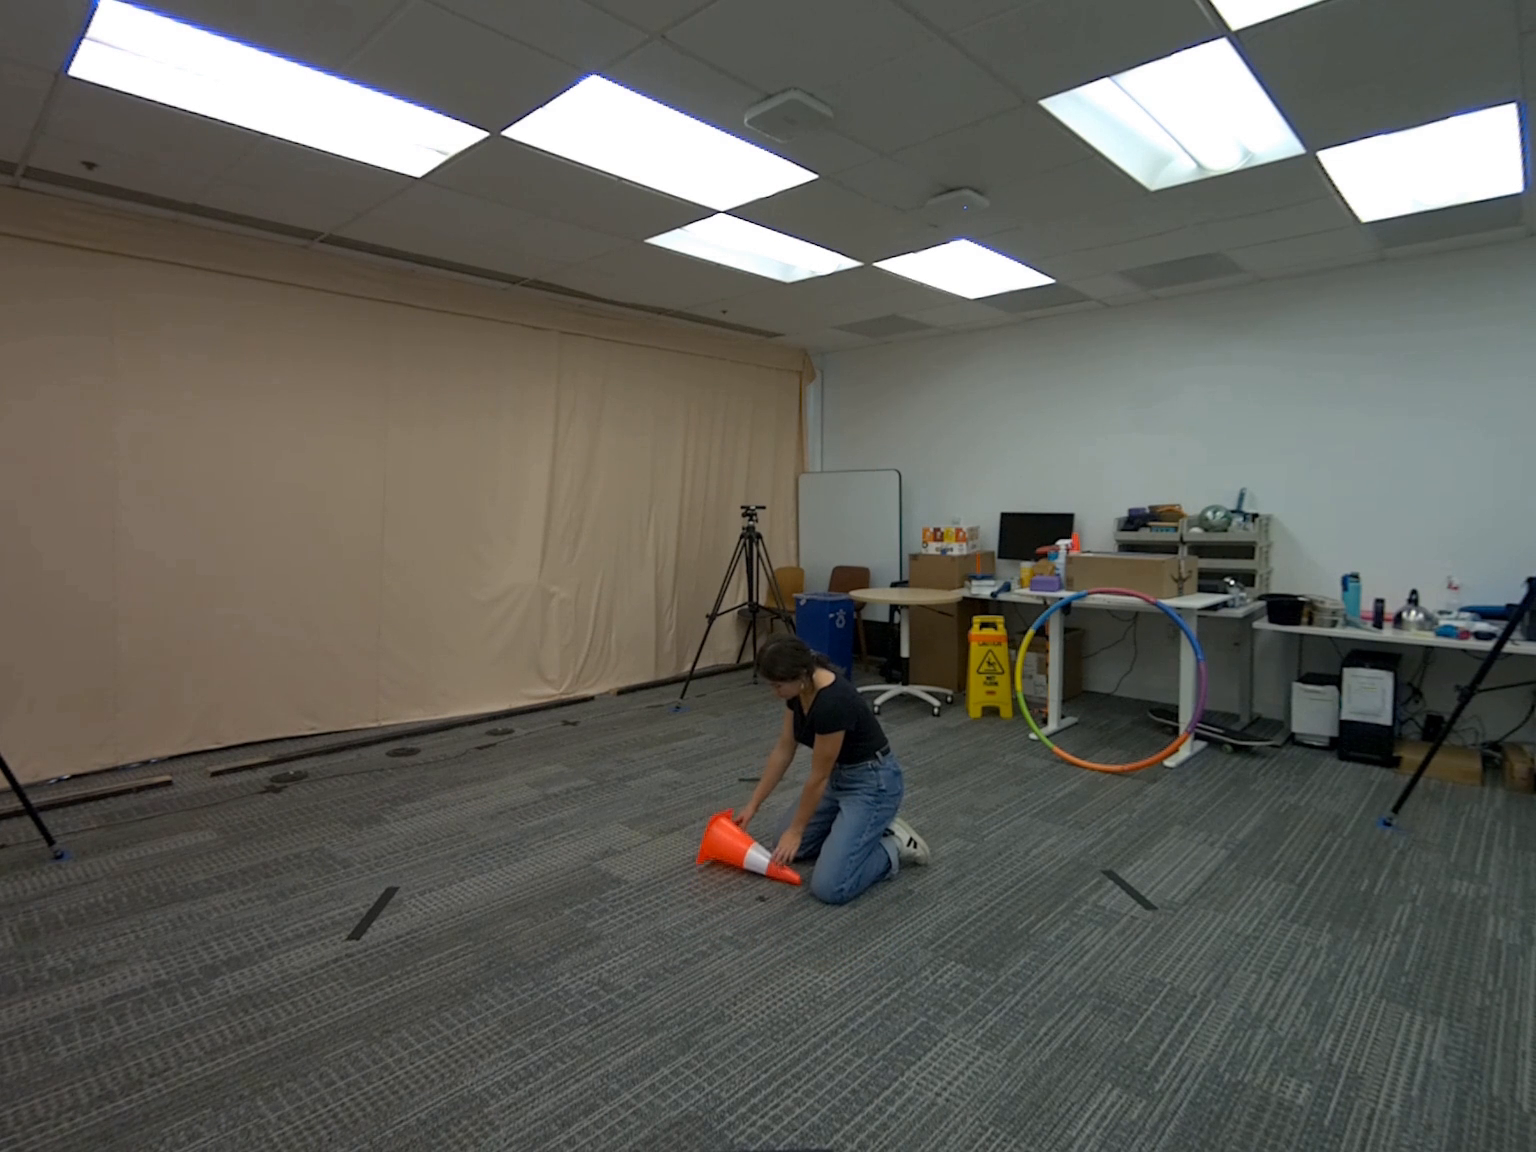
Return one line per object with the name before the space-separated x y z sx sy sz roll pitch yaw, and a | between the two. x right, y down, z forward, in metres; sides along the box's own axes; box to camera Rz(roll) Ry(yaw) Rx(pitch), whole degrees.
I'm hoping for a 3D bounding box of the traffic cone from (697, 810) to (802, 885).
traffic cone | -0.037 1.072 3.184 0.395 0.203 0.199 19 5 27
